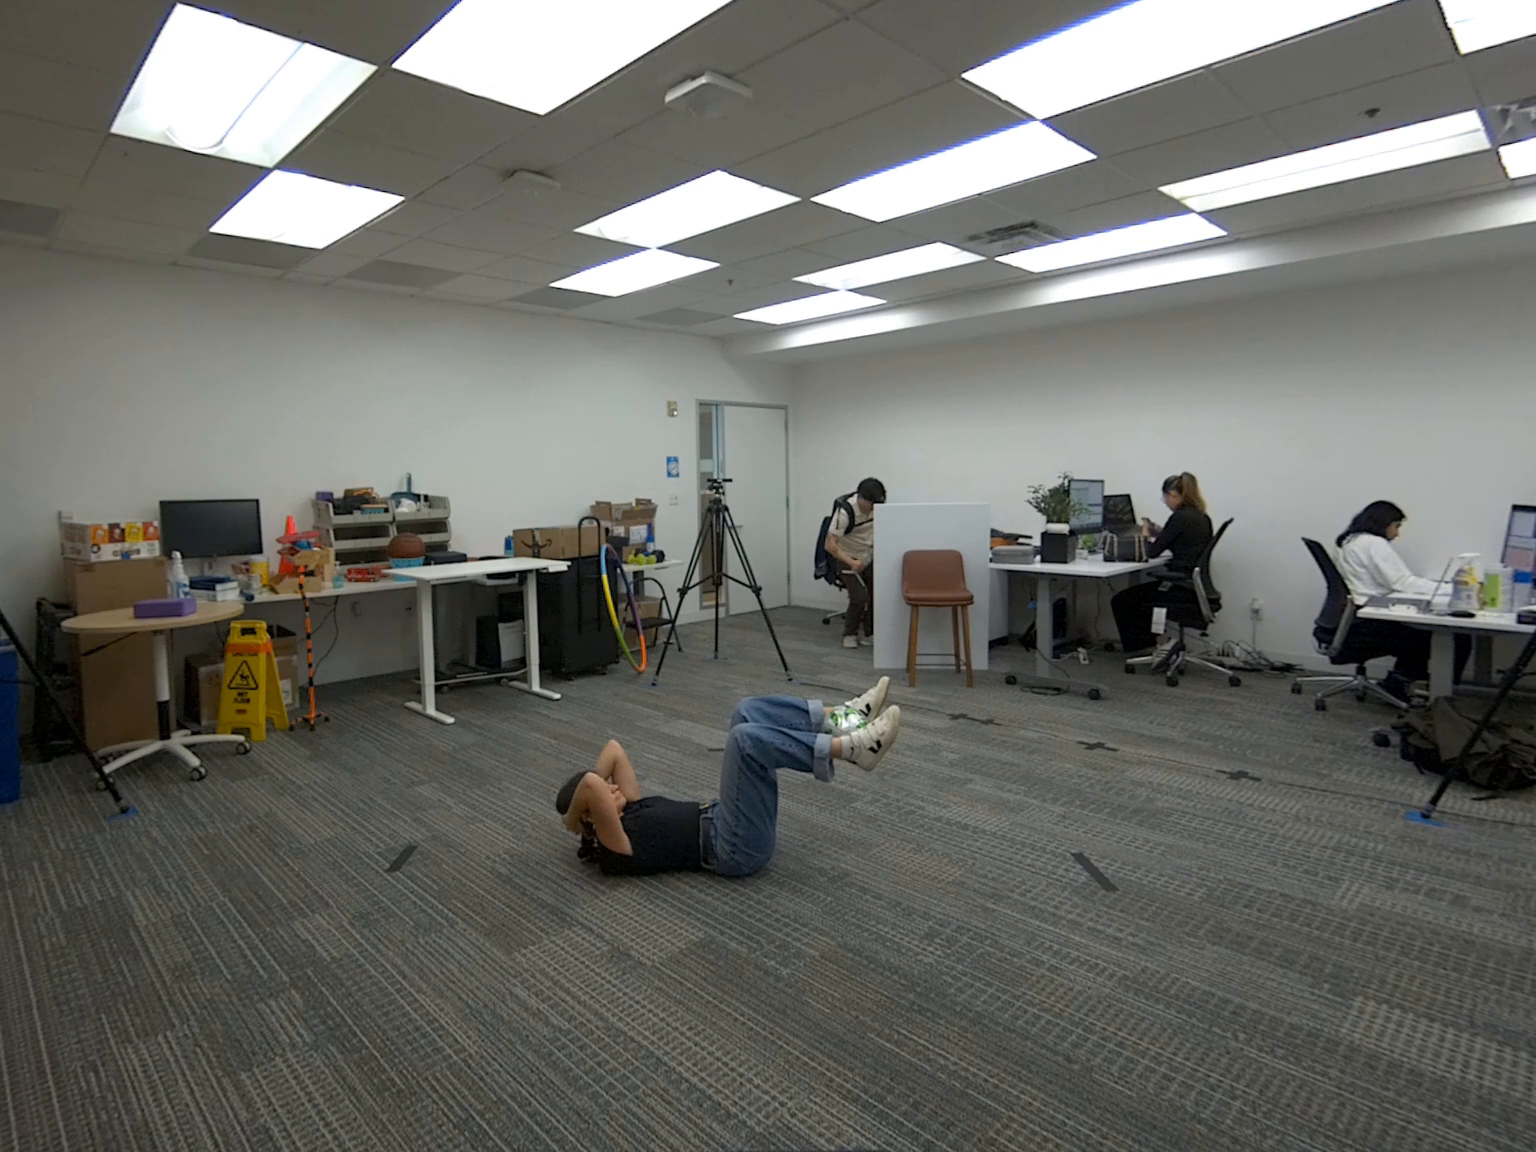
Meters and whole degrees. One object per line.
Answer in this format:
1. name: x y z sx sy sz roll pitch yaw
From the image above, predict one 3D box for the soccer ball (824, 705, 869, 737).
1. soccer ball: 0.289 0.565 3.054 0.187 0.187 0.188 0 1 -2
